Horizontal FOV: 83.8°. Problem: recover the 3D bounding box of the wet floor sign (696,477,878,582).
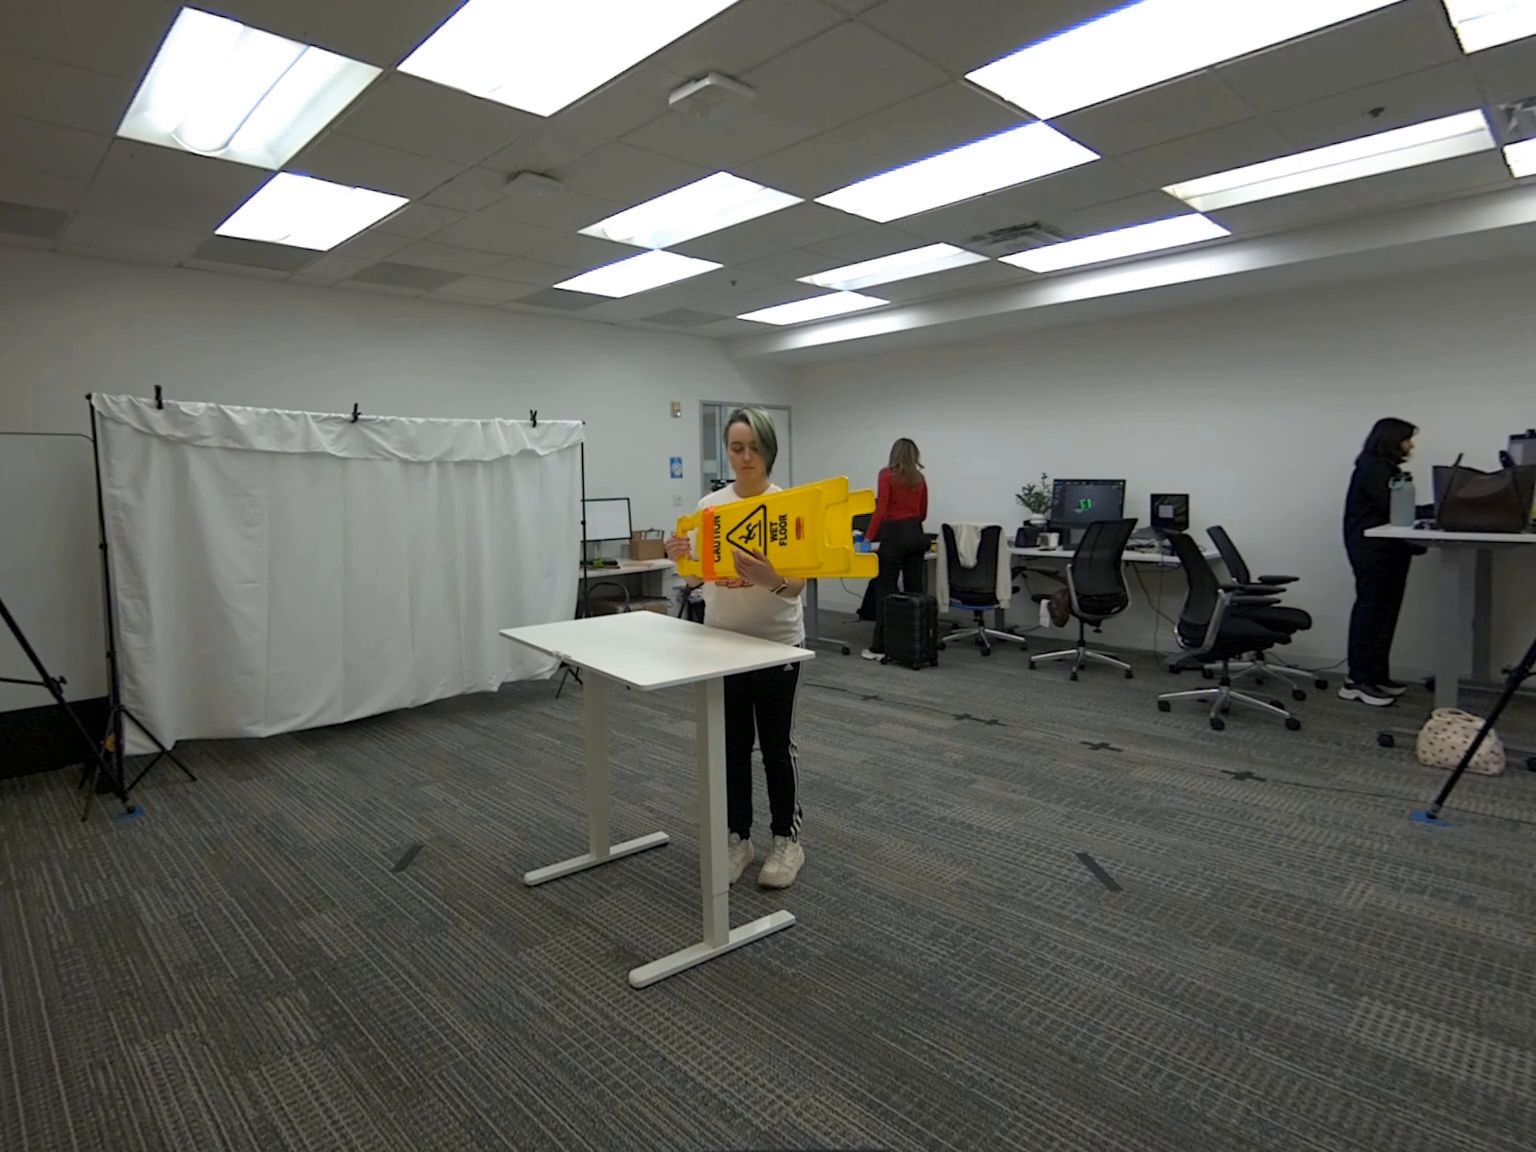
[{"bbox_3d":[-0.009,-0.119,2.698,0.659,0.284,0.281,-6,-8,26],"label":"wet floor sign"}]
